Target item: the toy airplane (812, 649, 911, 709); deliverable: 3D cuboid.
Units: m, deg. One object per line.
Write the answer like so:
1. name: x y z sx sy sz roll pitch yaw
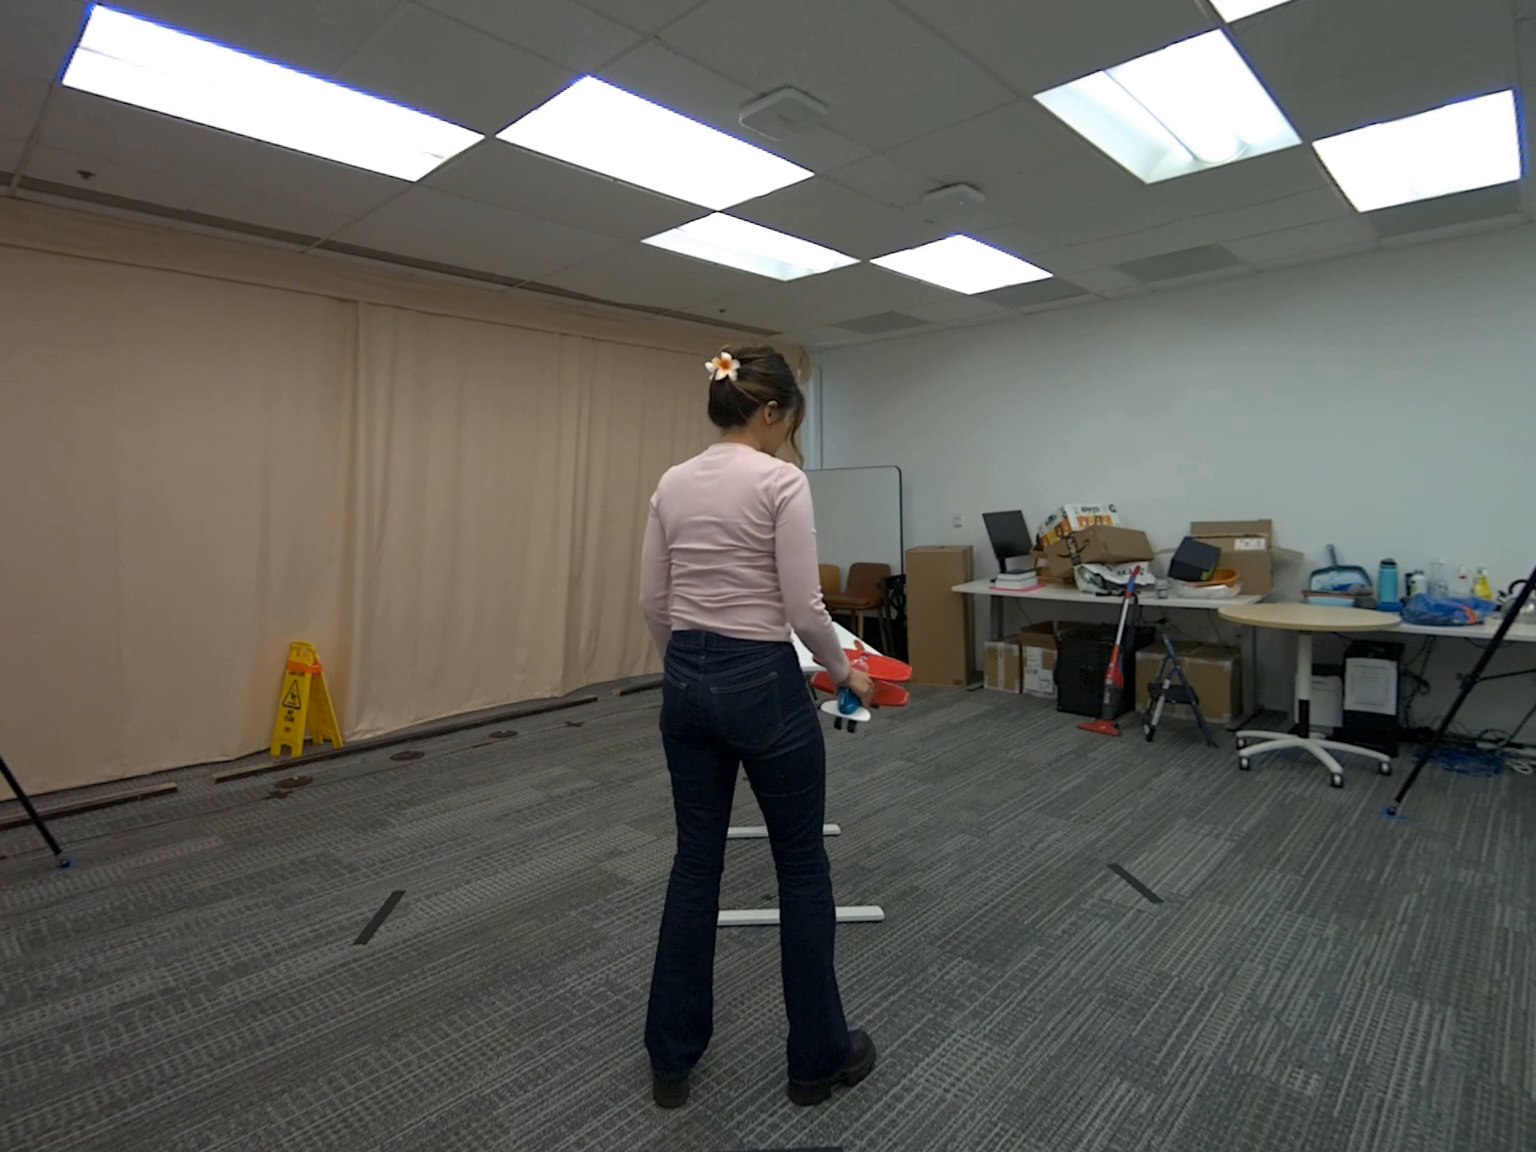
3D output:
1. toy airplane: 0.251 0.287 2.173 0.248 0.155 0.265 -1 15 -13
